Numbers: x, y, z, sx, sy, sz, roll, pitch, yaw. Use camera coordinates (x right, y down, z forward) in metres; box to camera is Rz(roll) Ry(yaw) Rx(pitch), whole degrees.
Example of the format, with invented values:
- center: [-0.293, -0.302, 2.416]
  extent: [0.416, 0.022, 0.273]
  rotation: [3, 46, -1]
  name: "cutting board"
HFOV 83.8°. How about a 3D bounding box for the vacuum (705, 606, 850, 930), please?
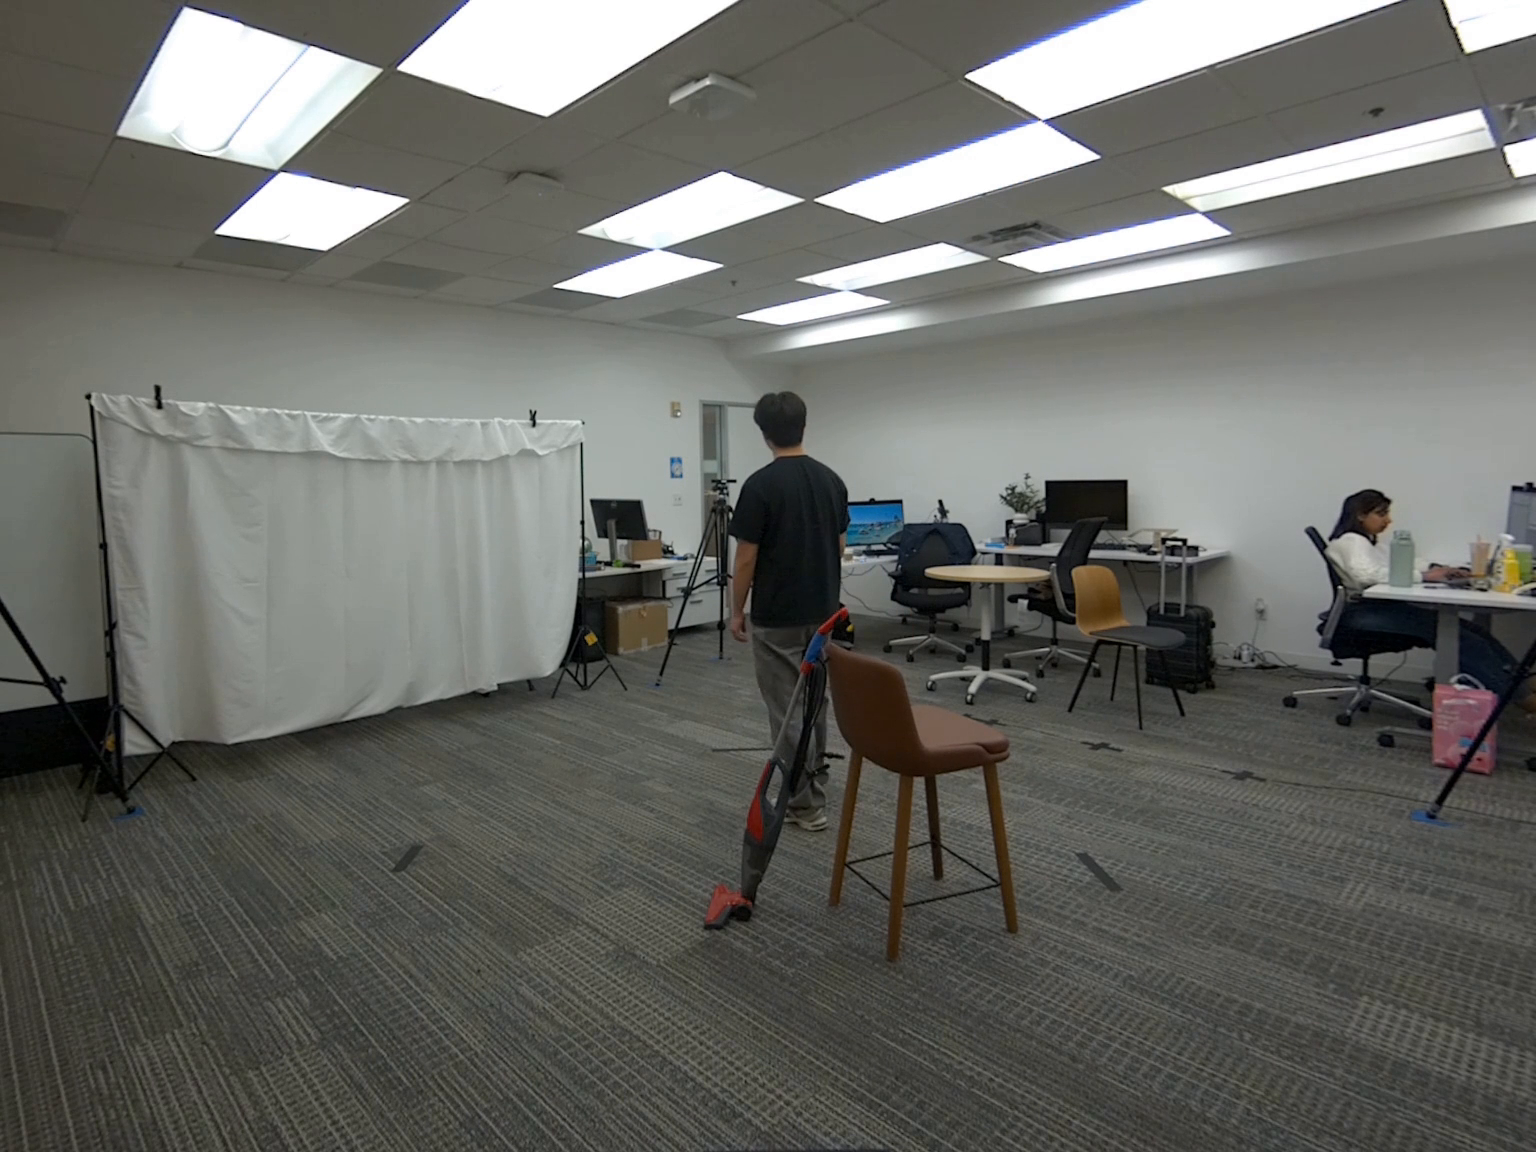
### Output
- center: [0.055, 0.601, 2.704]
  extent: [0.144, 1.045, 0.253]
  rotation: [19, 7, 0]
  name: "vacuum"
